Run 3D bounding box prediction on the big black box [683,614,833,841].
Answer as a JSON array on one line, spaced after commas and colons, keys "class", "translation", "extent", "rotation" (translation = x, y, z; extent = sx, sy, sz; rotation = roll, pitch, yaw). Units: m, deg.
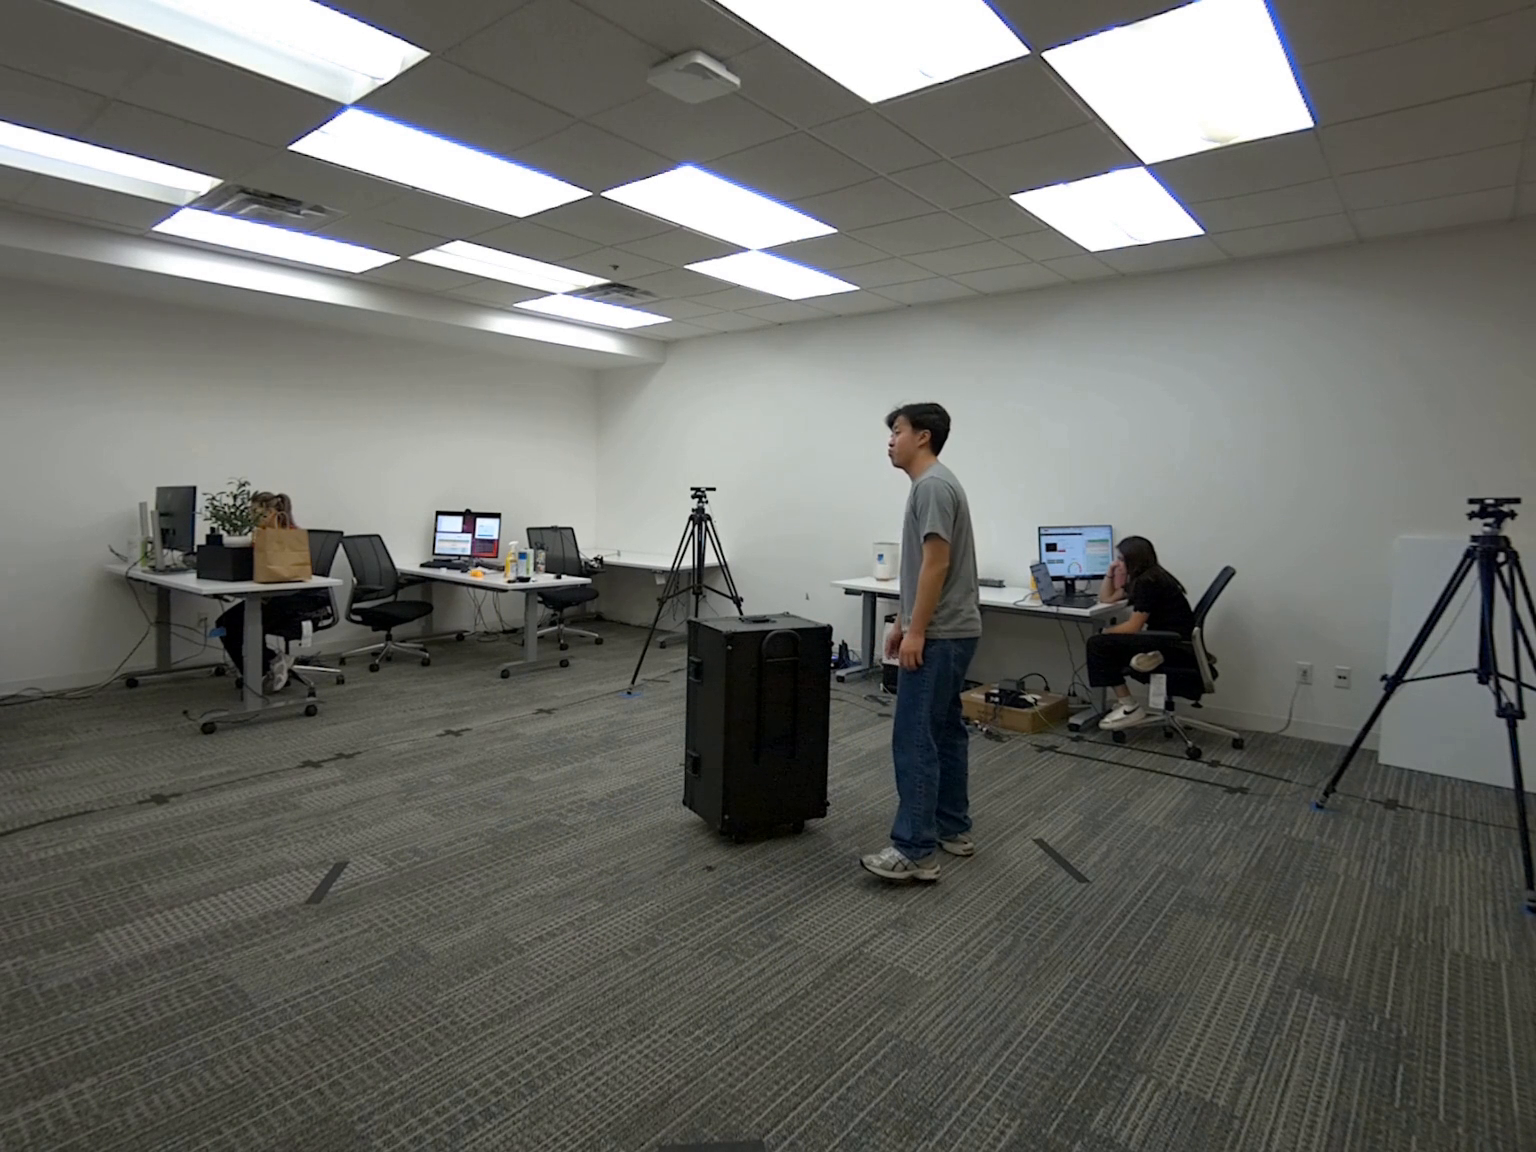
[{"class": "big black box", "translation": [-0.050, 0.607, 3.475], "extent": [0.508, 0.858, 0.408], "rotation": [-1, 5, -28]}]
